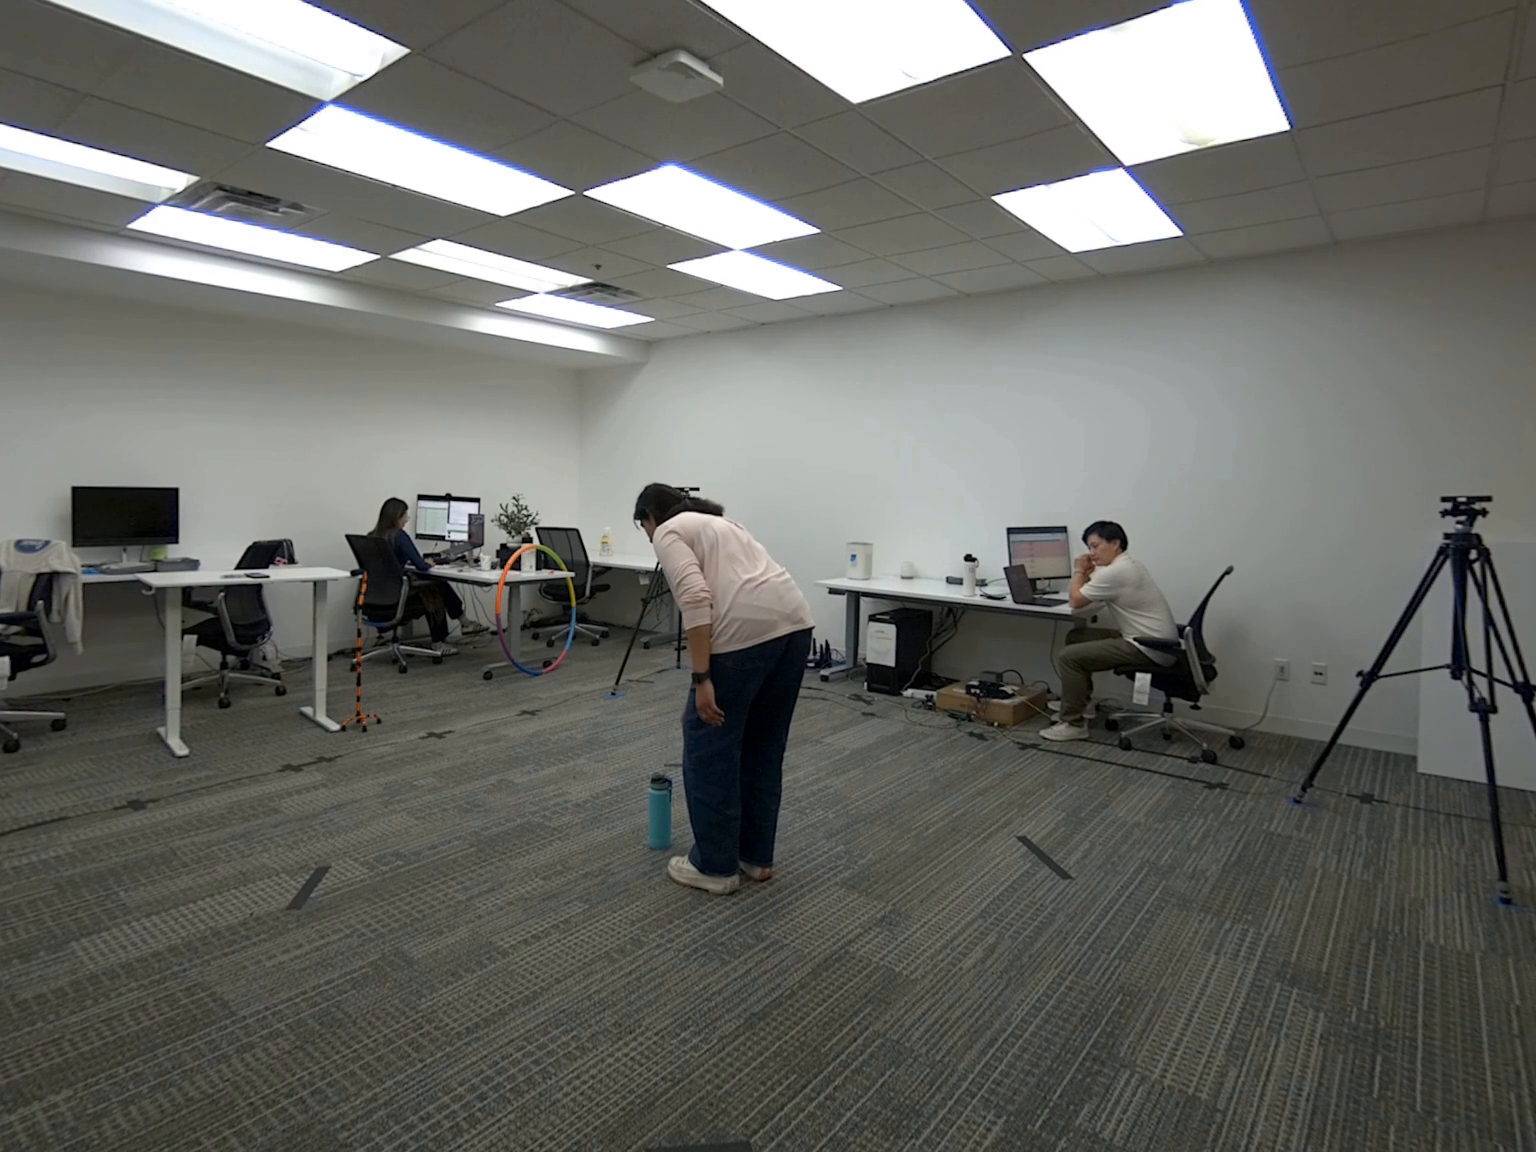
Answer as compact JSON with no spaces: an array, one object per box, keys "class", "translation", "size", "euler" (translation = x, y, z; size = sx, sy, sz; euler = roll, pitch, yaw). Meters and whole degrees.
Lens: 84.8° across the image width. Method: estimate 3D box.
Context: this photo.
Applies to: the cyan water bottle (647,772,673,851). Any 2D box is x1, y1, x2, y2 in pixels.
[{"class":"cyan water bottle","translation":[-0.431,0.905,3.304],"size":[0.092,0.282,0.093],"euler":[1,3,-2]}]
